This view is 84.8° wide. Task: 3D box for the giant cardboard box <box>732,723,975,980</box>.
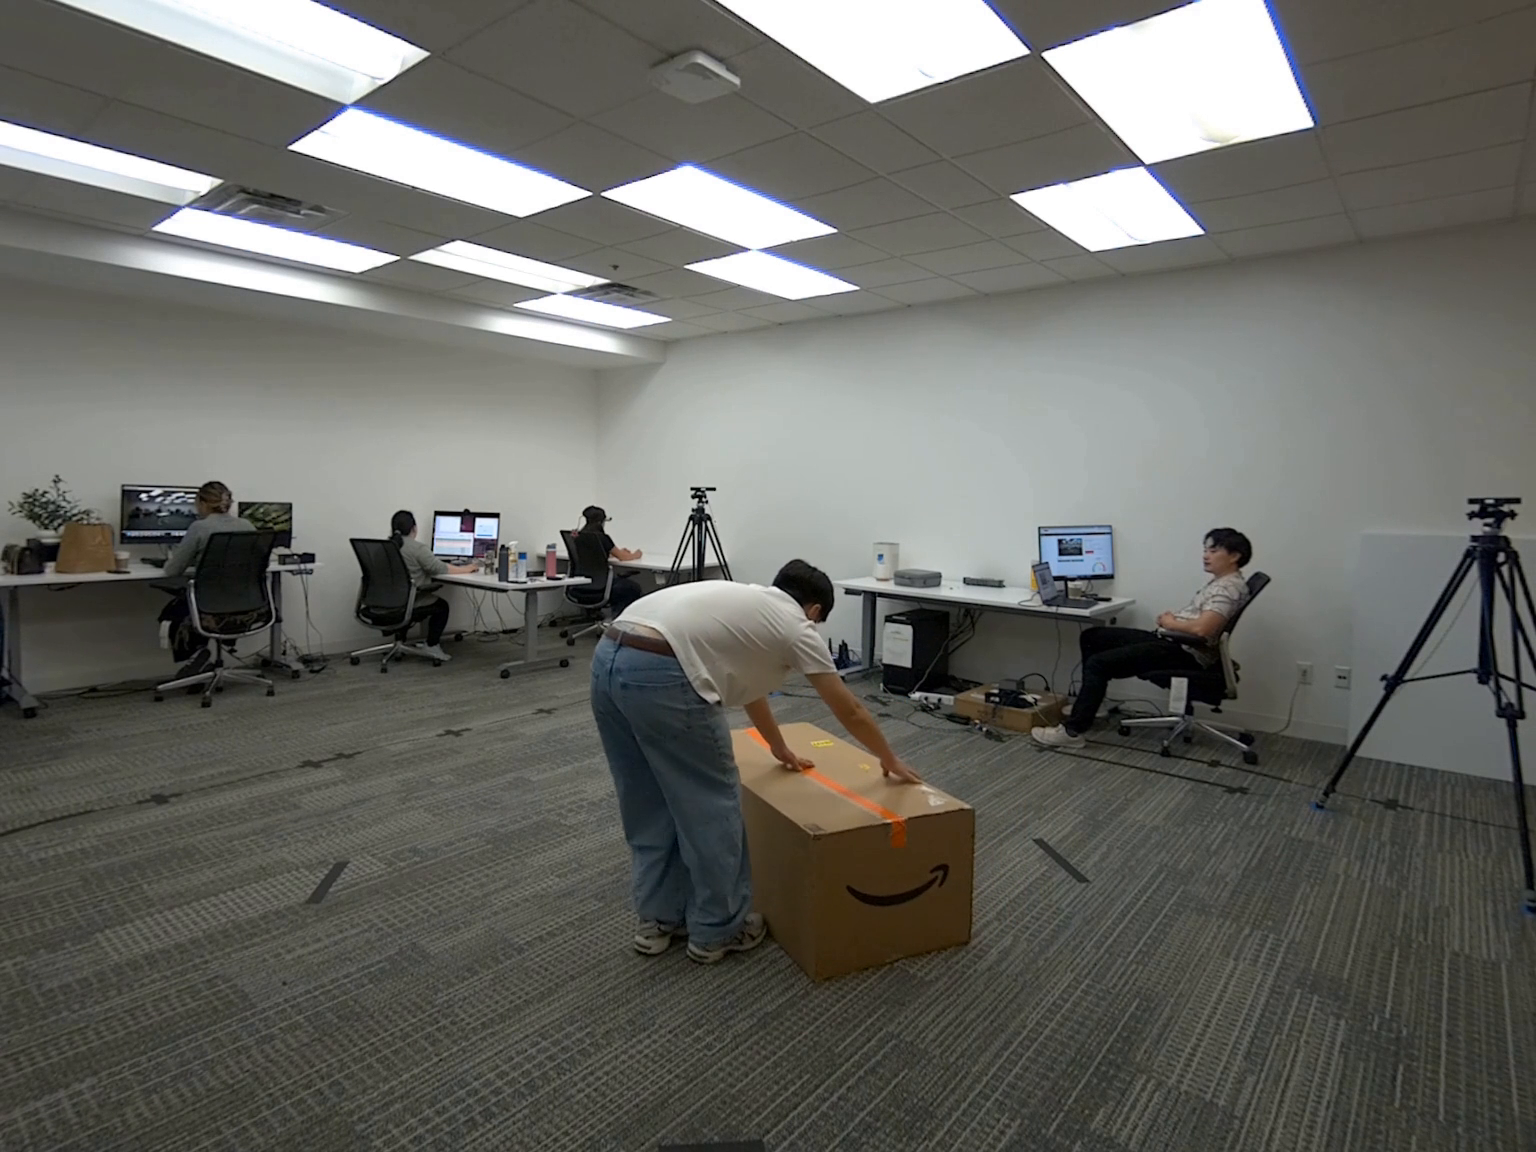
[{"bbox_3d":[0.139,0.873,2.974,0.563,0.424,1.055,-1,6,-26],"label":"giant cardboard box"}]
